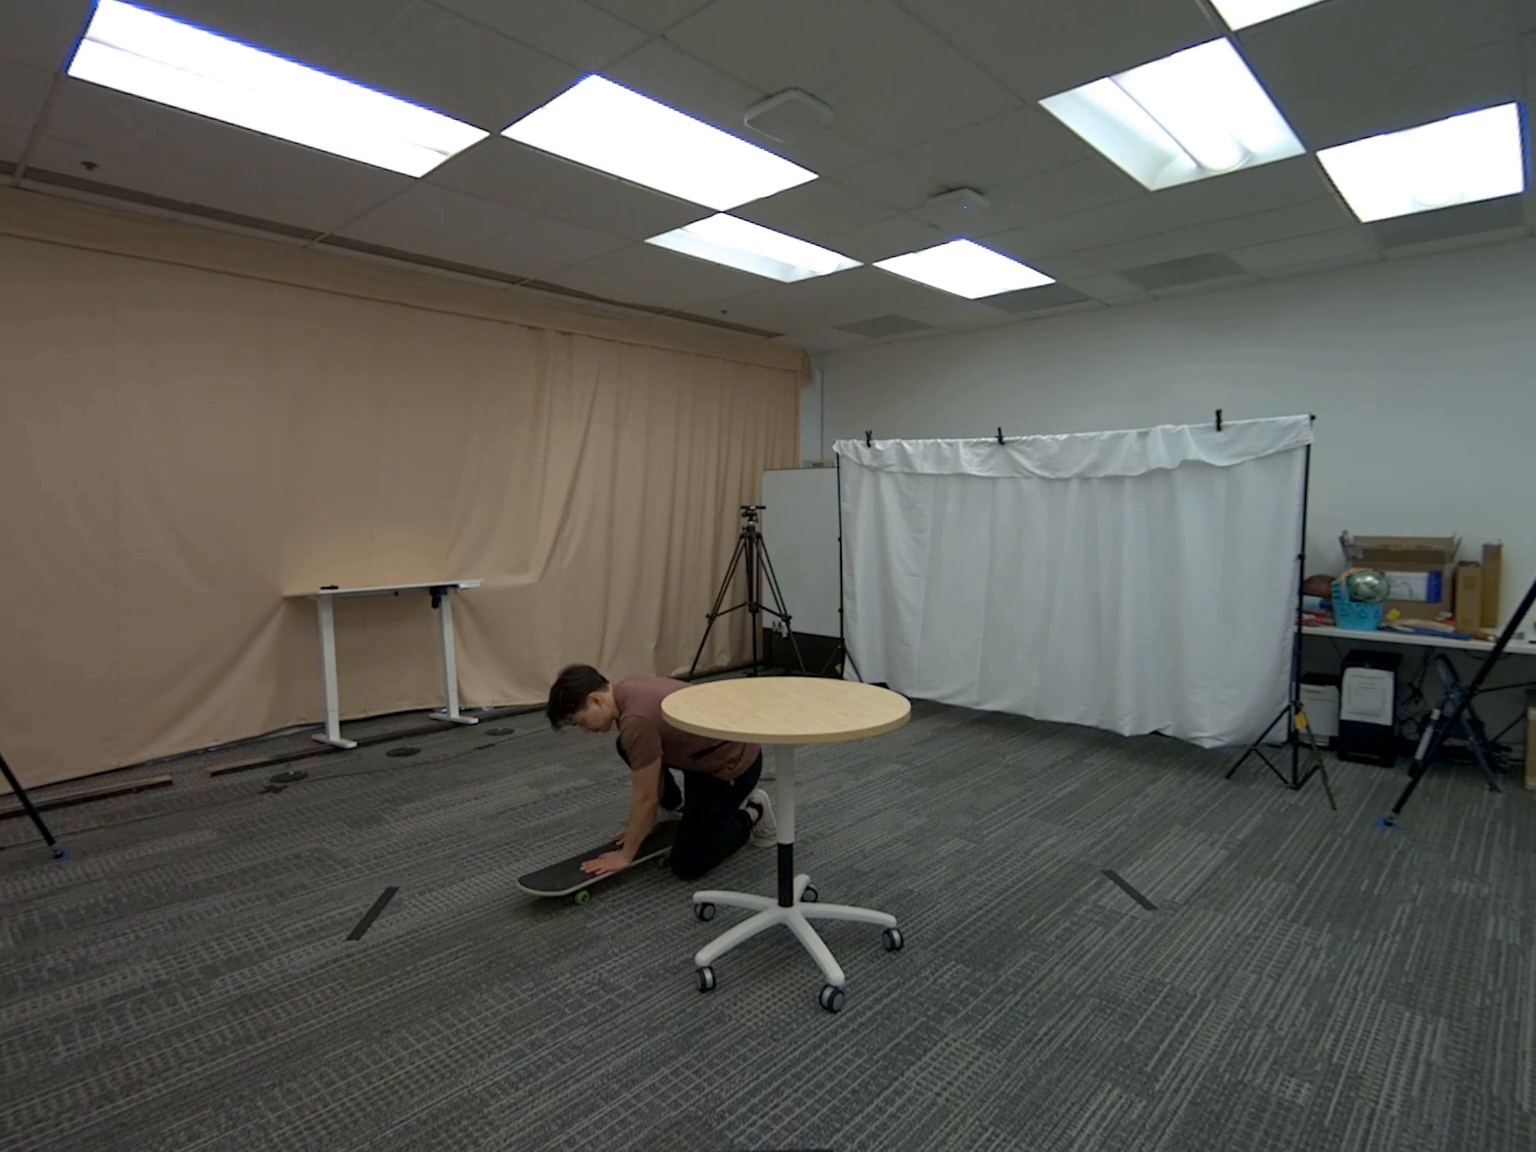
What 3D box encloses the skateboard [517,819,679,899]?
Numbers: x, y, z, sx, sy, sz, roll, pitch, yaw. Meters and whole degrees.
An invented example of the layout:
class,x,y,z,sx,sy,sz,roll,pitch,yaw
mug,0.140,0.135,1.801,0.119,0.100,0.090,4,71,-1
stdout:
class,x,y,z,sx,sy,sz,roll,pitch,yaw
skateboard,-0.597,1.083,3.153,0.200,0.110,0.762,4,6,39
